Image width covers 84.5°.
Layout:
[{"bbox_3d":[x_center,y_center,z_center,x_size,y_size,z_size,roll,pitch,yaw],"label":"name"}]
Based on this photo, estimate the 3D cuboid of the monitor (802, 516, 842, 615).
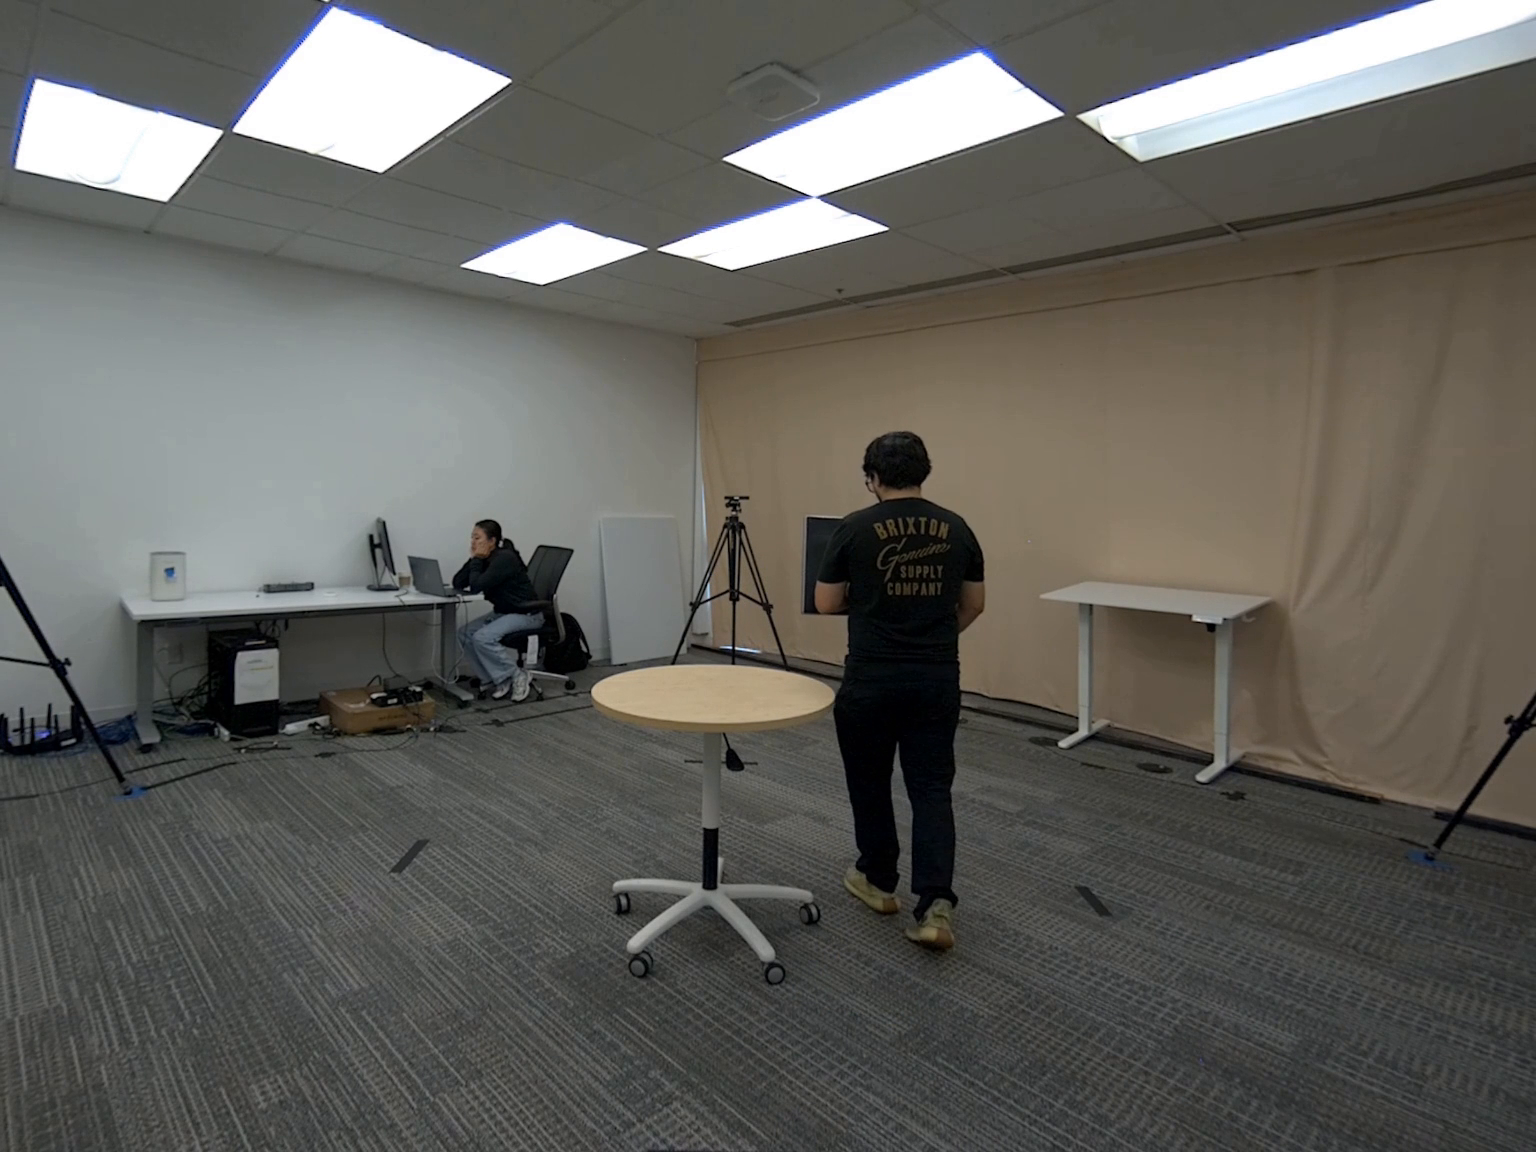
[{"bbox_3d":[0.413,0.056,3.042,0.561,0.558,0.210,2,-9,-9],"label":"monitor"}]
